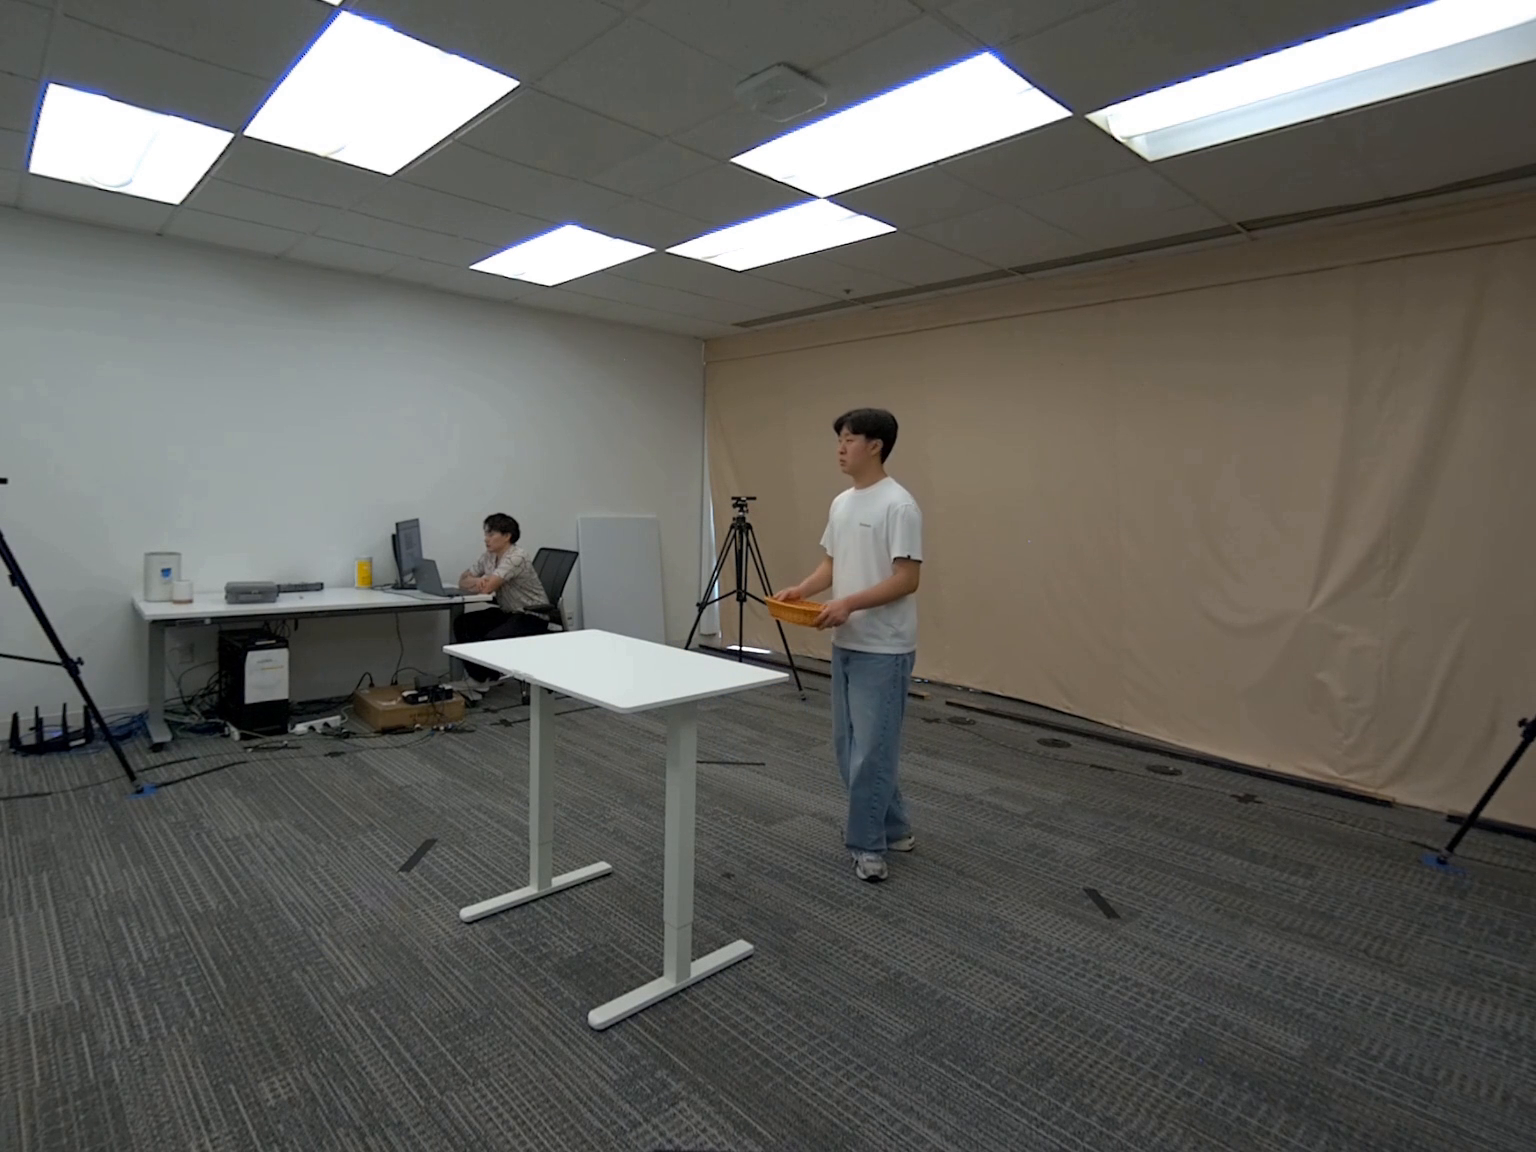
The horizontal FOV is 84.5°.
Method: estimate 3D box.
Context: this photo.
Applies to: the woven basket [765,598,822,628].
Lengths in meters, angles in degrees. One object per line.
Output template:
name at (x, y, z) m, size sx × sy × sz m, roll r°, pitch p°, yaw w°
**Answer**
woven basket at (0.133, 0.132, 3.147) m, size 0.246 × 0.073 × 0.359 m, roll 0°, pitch 5°, yaw -42°
